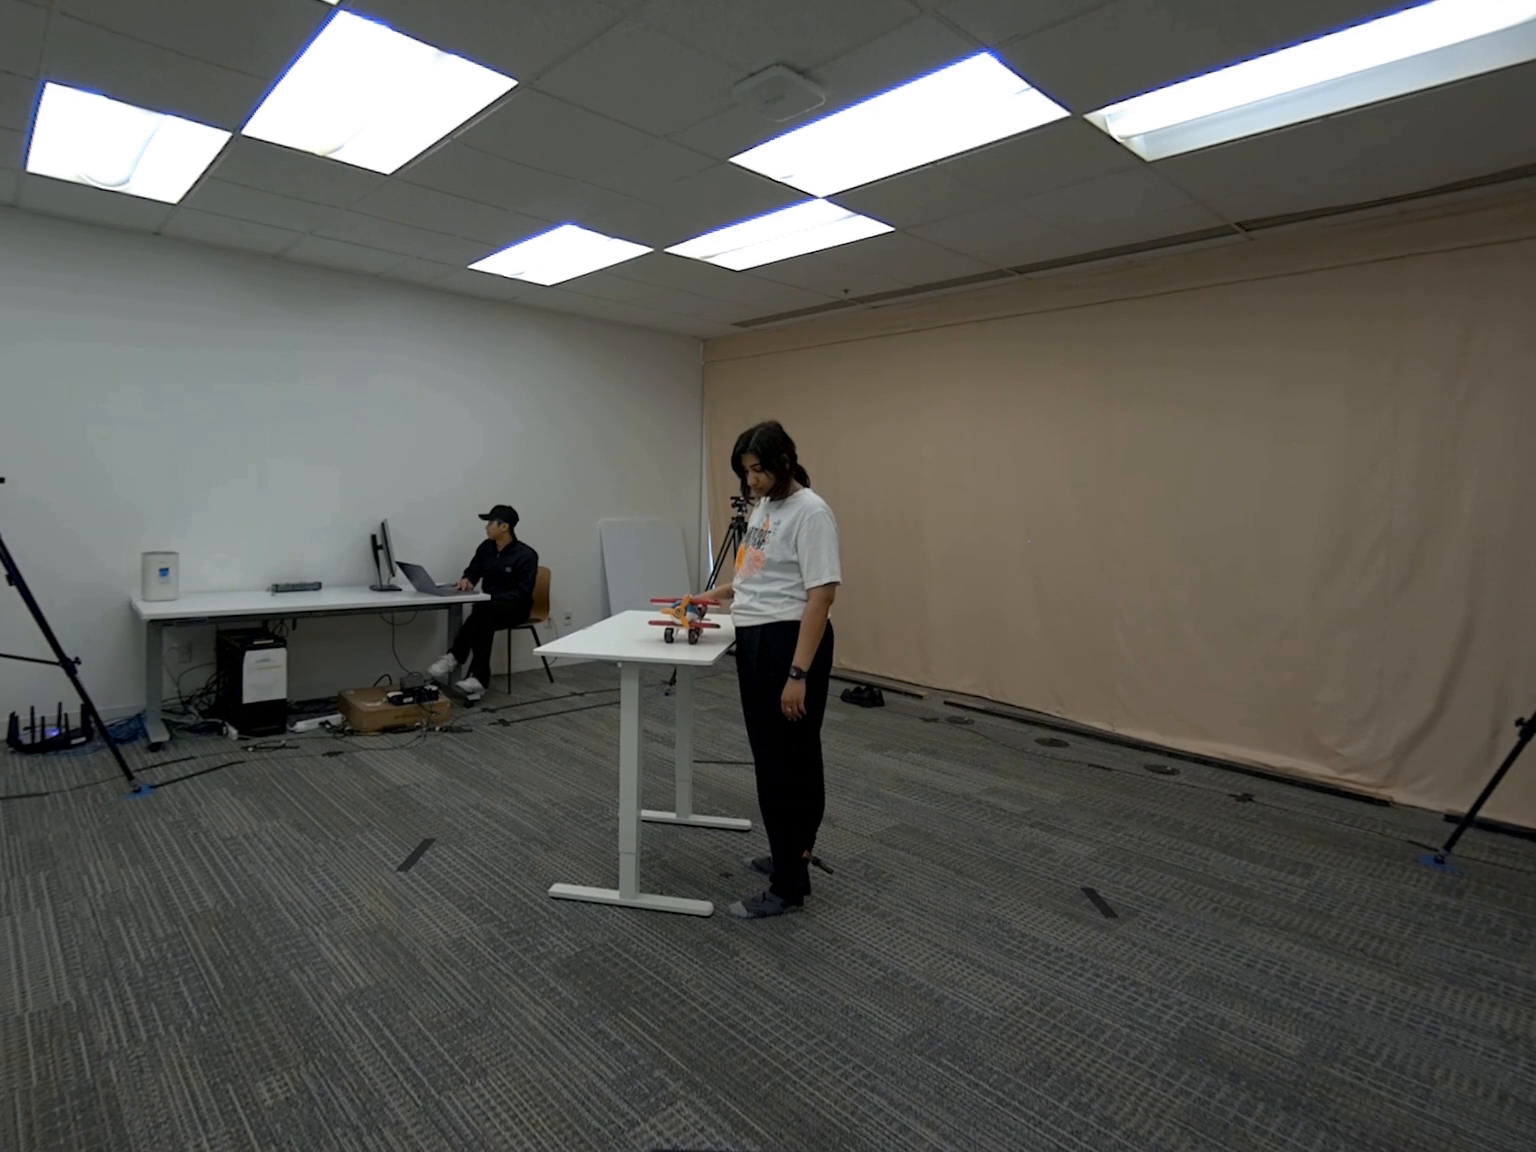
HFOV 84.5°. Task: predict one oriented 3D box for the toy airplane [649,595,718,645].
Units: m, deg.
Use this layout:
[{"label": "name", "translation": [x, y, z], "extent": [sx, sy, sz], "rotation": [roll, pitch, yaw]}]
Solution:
[{"label": "toy airplane", "translation": [-0.313, 0.150, 3.003], "extent": [0.248, 0.156, 0.264], "rotation": [-1, 6, -18]}]
